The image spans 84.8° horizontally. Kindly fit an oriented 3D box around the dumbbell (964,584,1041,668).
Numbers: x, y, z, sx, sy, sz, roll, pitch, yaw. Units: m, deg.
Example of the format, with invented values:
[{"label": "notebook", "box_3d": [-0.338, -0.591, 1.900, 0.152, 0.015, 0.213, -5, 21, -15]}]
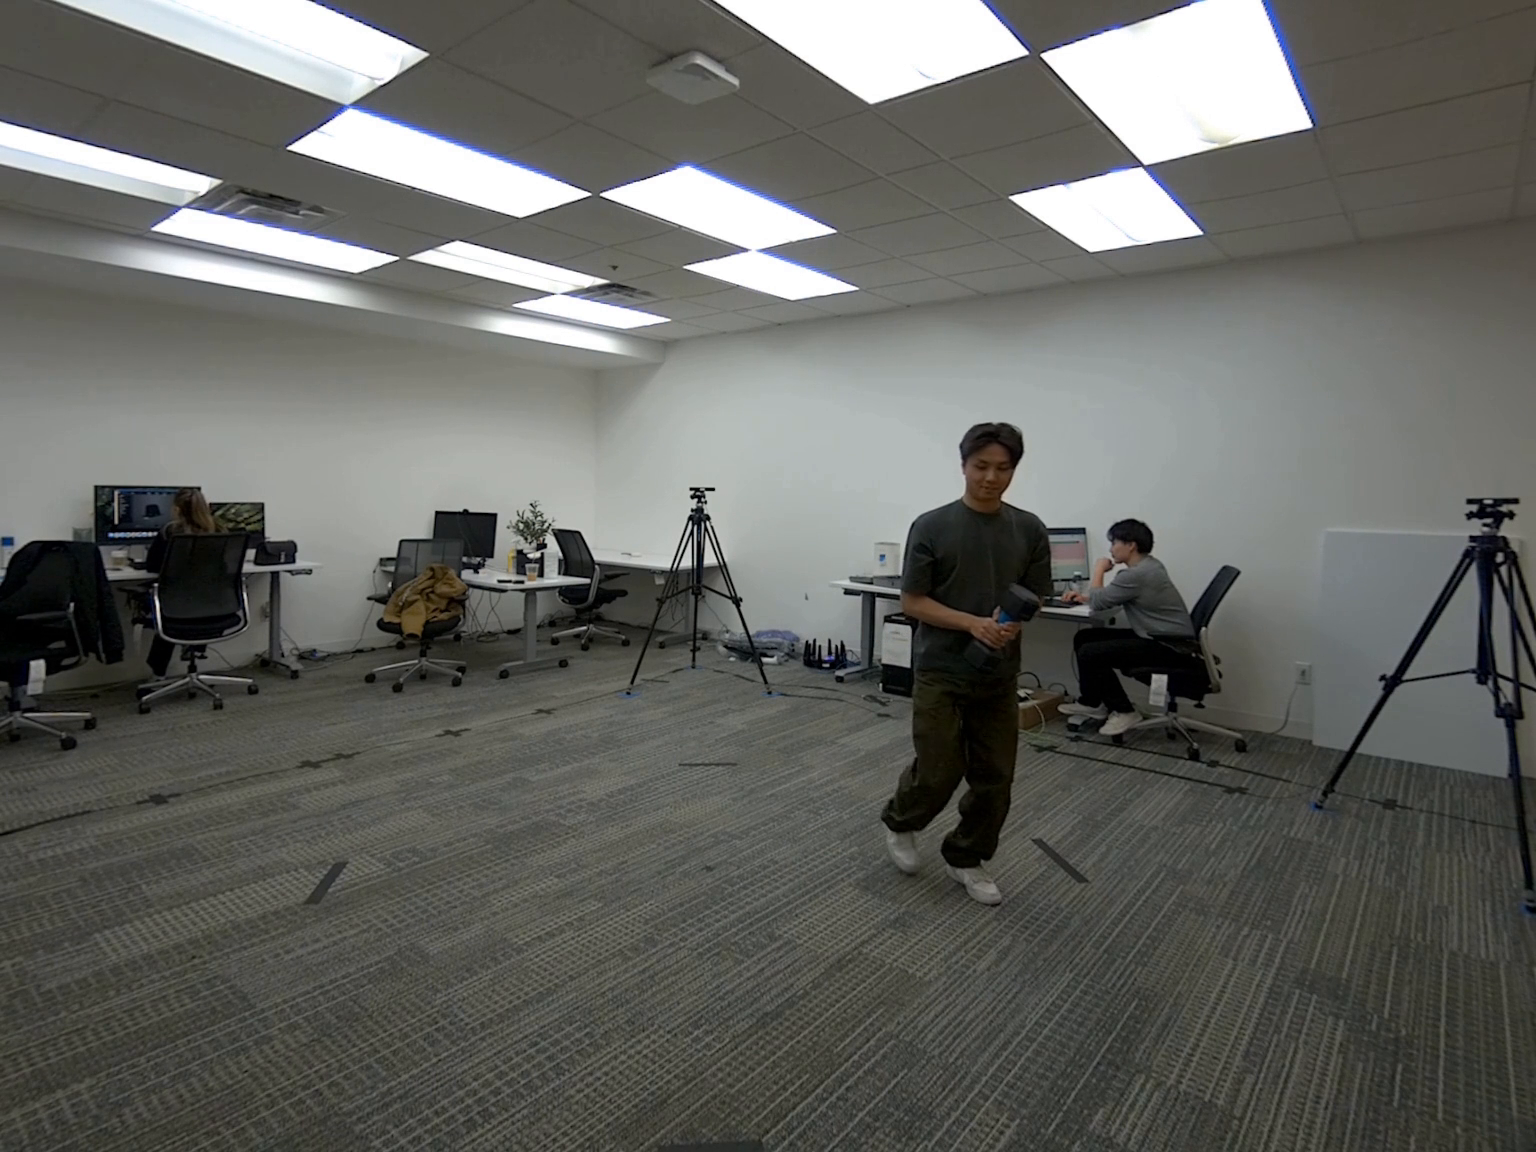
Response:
[{"label": "dumbbell", "box_3d": [0.749, 0.168, 2.746, 0.128, 0.292, 0.105, 41, 23, 29]}]
